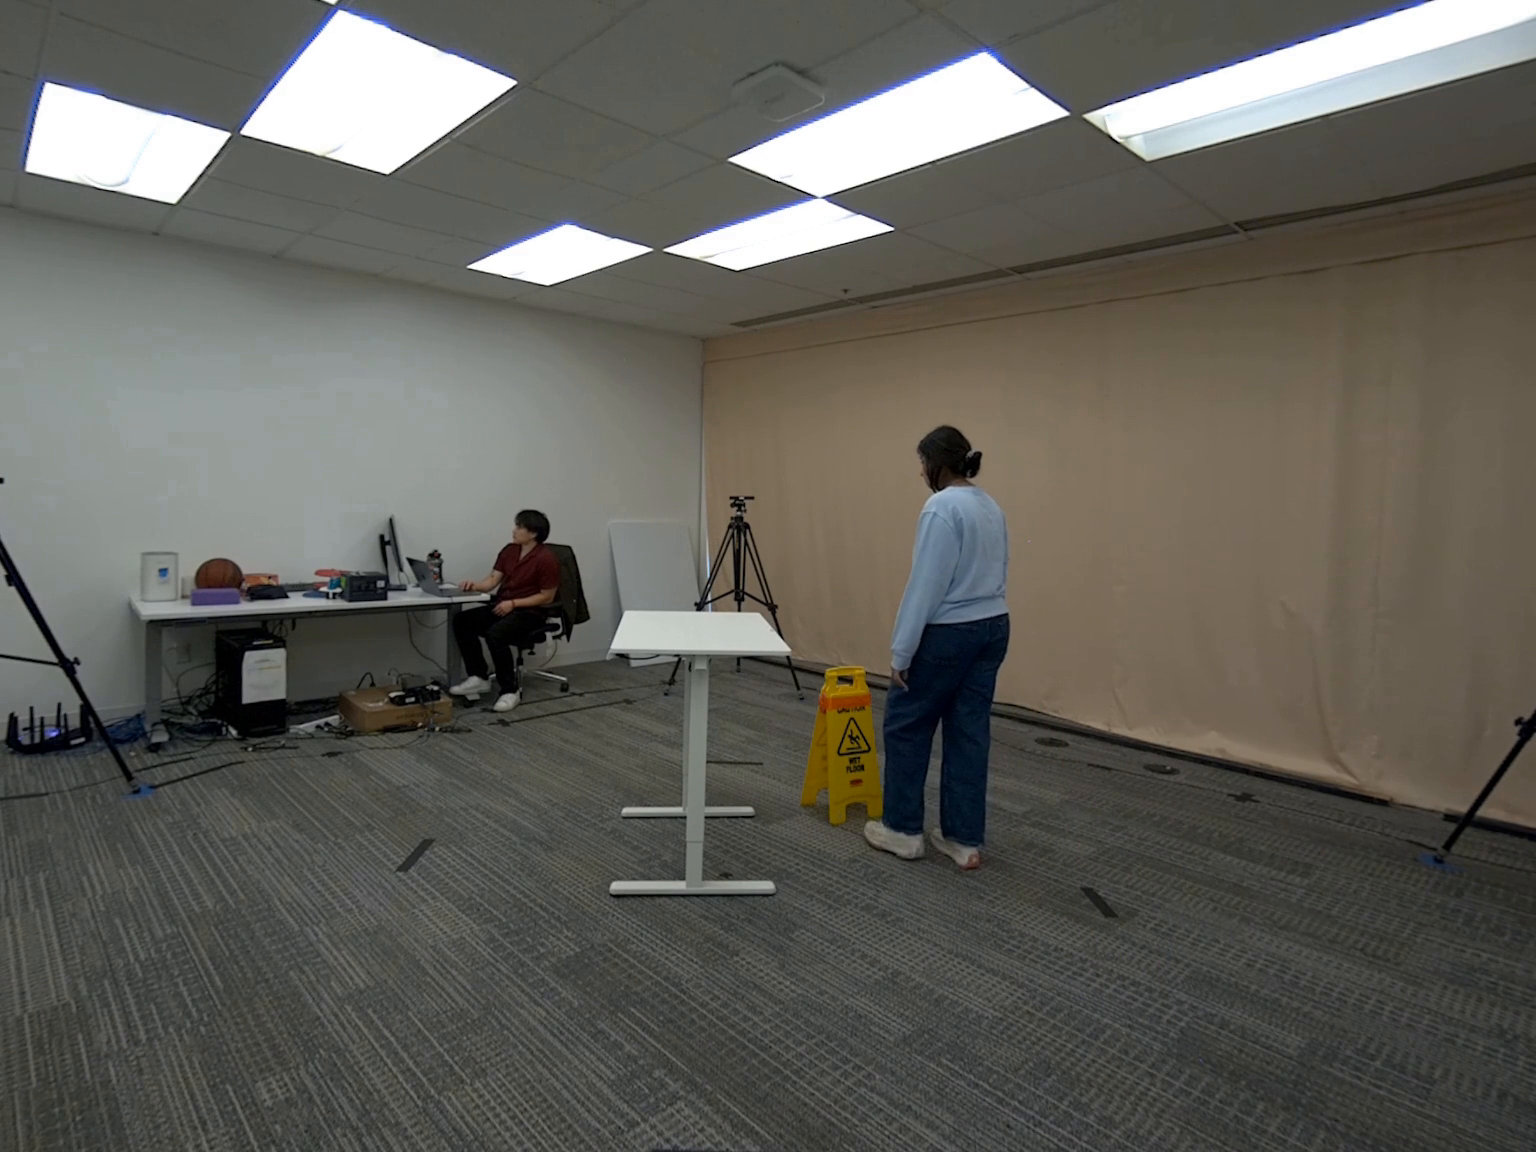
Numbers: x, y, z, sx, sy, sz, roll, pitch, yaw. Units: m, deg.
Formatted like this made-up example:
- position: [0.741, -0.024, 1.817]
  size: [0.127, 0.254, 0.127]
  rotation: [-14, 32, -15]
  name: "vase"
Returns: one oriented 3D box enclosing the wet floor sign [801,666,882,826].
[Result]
- position: [0.330, 0.734, 3.781]
  size: [0.277, 0.645, 0.296]
  rotation: [1, 2, -28]
  name: "wet floor sign"
